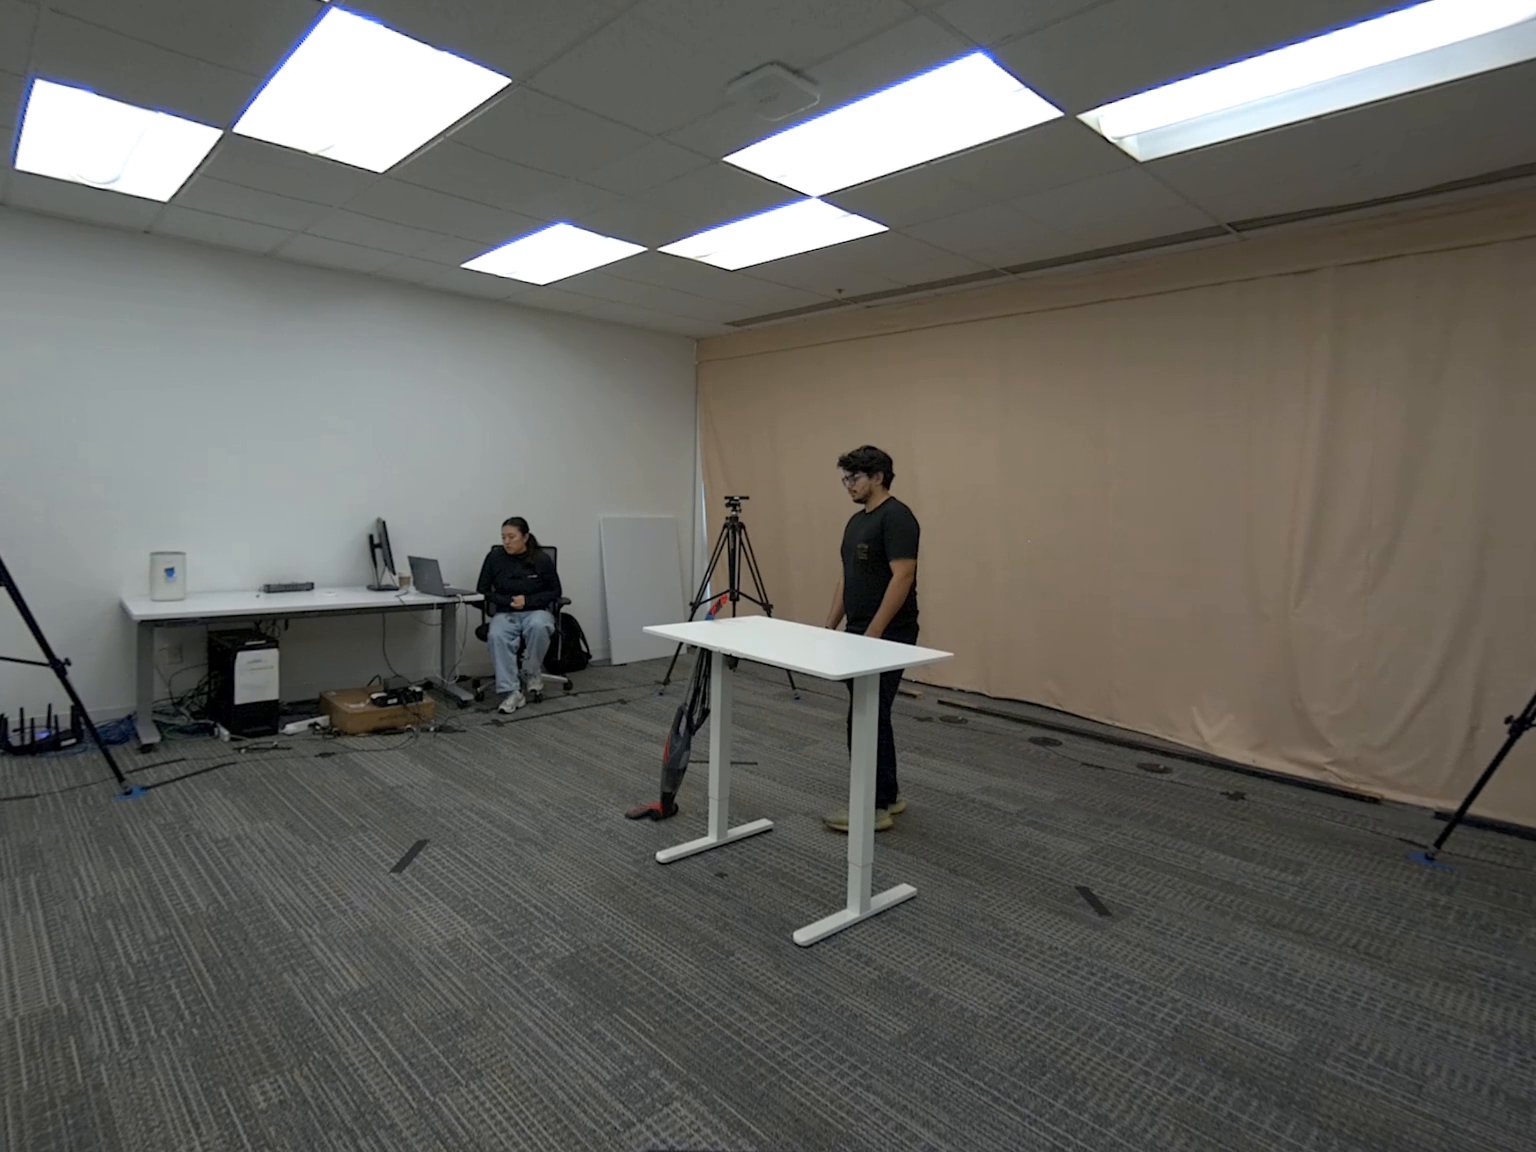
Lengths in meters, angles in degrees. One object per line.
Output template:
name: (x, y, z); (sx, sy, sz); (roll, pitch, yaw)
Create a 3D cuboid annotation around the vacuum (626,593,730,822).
vacuum: (-0.341, 0.563, 3.553); (0.148, 1.042, 0.247); (27, 17, 31)
